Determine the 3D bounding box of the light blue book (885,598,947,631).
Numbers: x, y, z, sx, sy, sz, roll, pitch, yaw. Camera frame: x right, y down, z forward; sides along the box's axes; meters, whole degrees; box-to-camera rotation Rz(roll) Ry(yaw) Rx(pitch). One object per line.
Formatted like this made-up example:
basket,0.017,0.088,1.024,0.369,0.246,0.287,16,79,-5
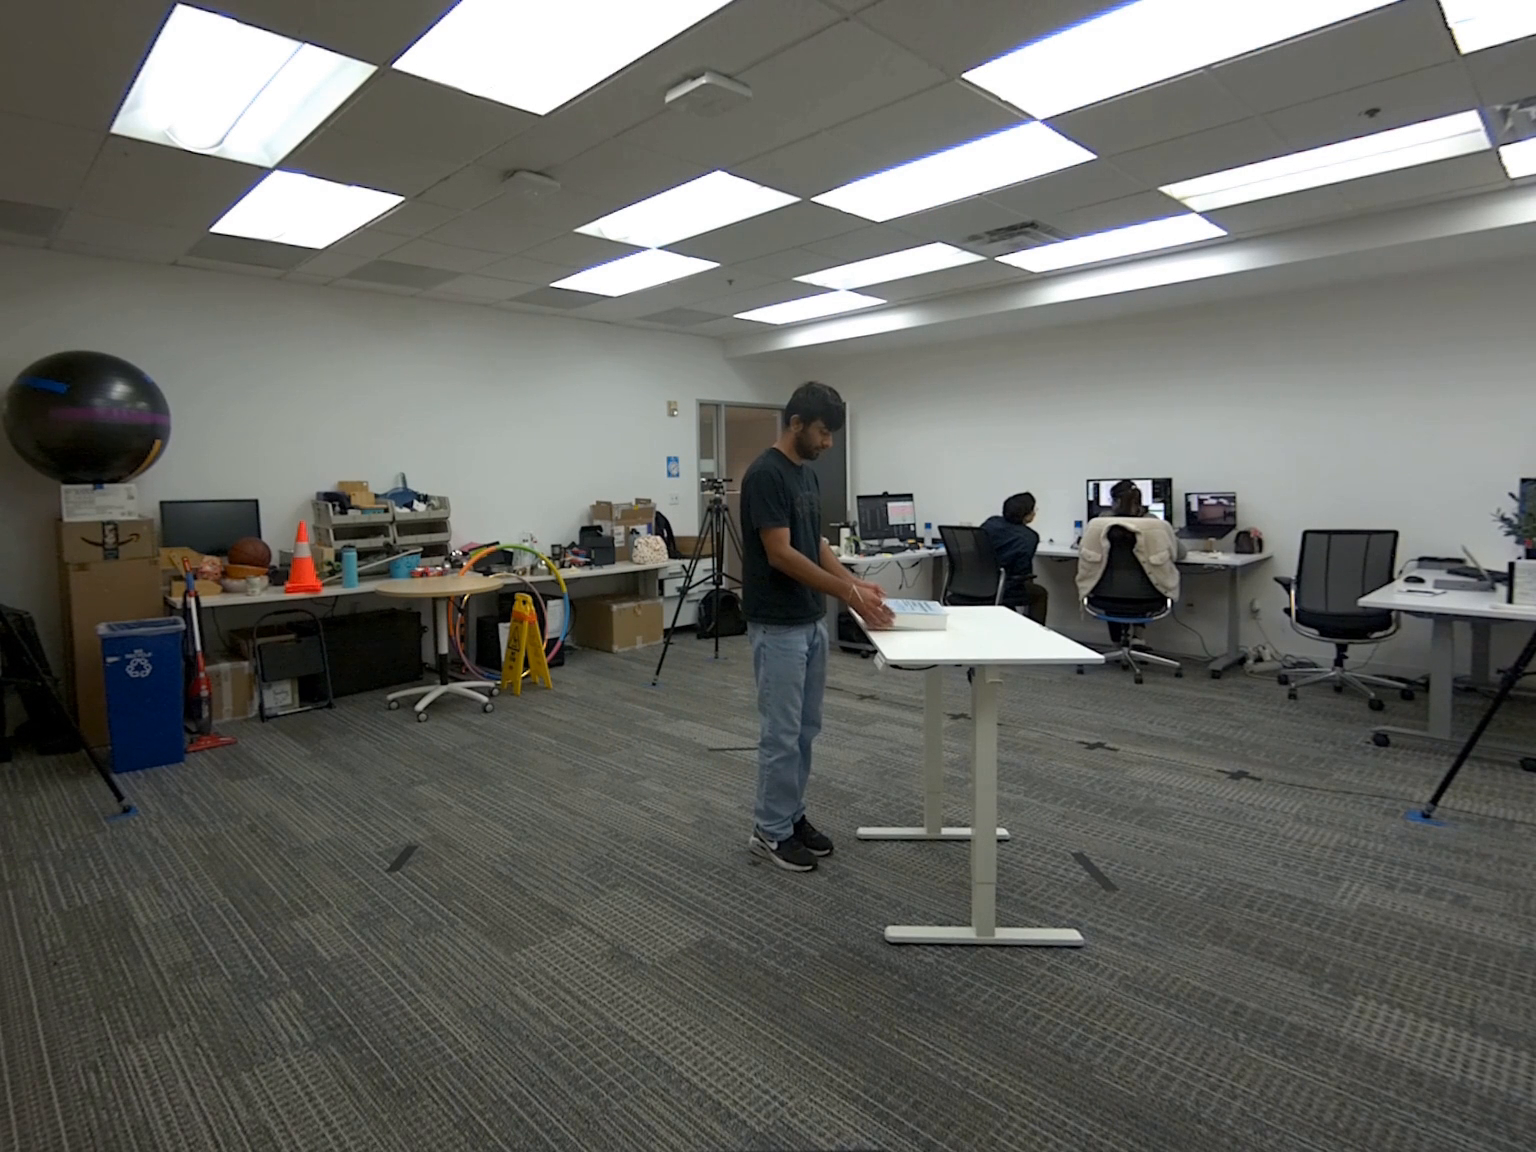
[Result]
light blue book,0.482,0.134,2.909,0.261,0.058,0.193,1,10,-1
